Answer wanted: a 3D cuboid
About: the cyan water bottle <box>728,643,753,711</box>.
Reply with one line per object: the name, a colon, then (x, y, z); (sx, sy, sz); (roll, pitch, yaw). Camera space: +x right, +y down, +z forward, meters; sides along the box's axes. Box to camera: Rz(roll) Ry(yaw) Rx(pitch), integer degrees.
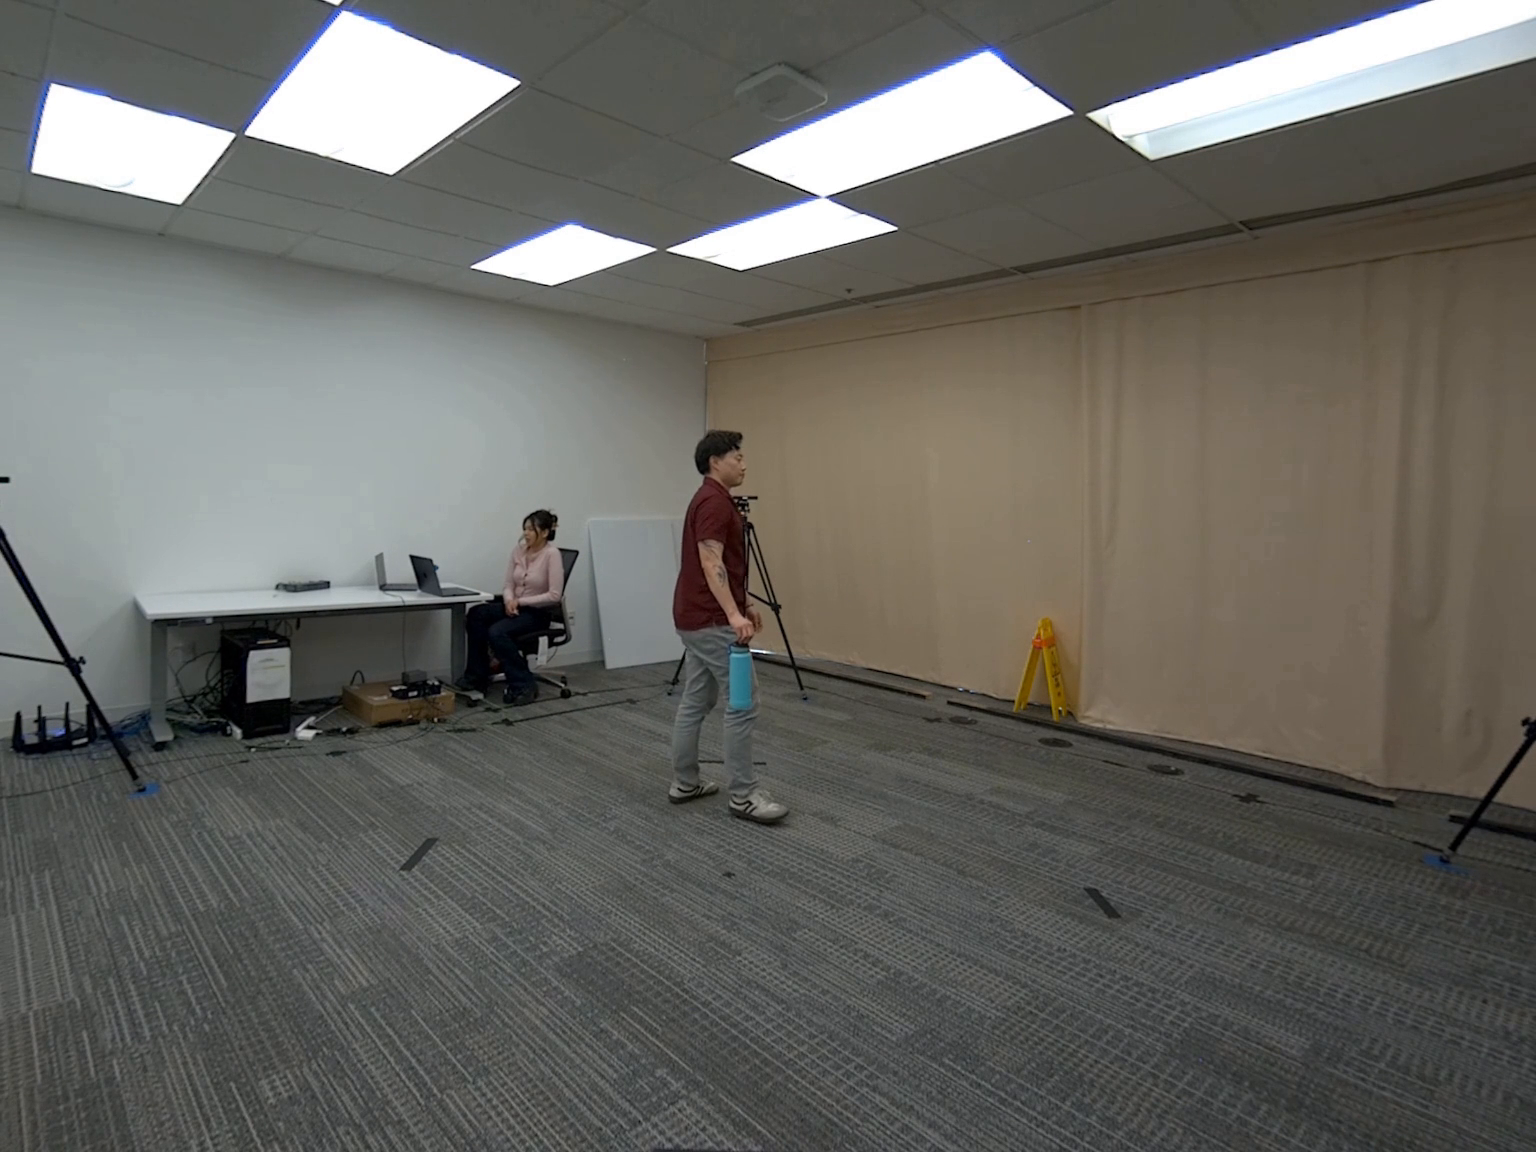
cyan water bottle: (-0.121, 0.405, 3.461); (0.092, 0.282, 0.093); (0, 7, -1)
